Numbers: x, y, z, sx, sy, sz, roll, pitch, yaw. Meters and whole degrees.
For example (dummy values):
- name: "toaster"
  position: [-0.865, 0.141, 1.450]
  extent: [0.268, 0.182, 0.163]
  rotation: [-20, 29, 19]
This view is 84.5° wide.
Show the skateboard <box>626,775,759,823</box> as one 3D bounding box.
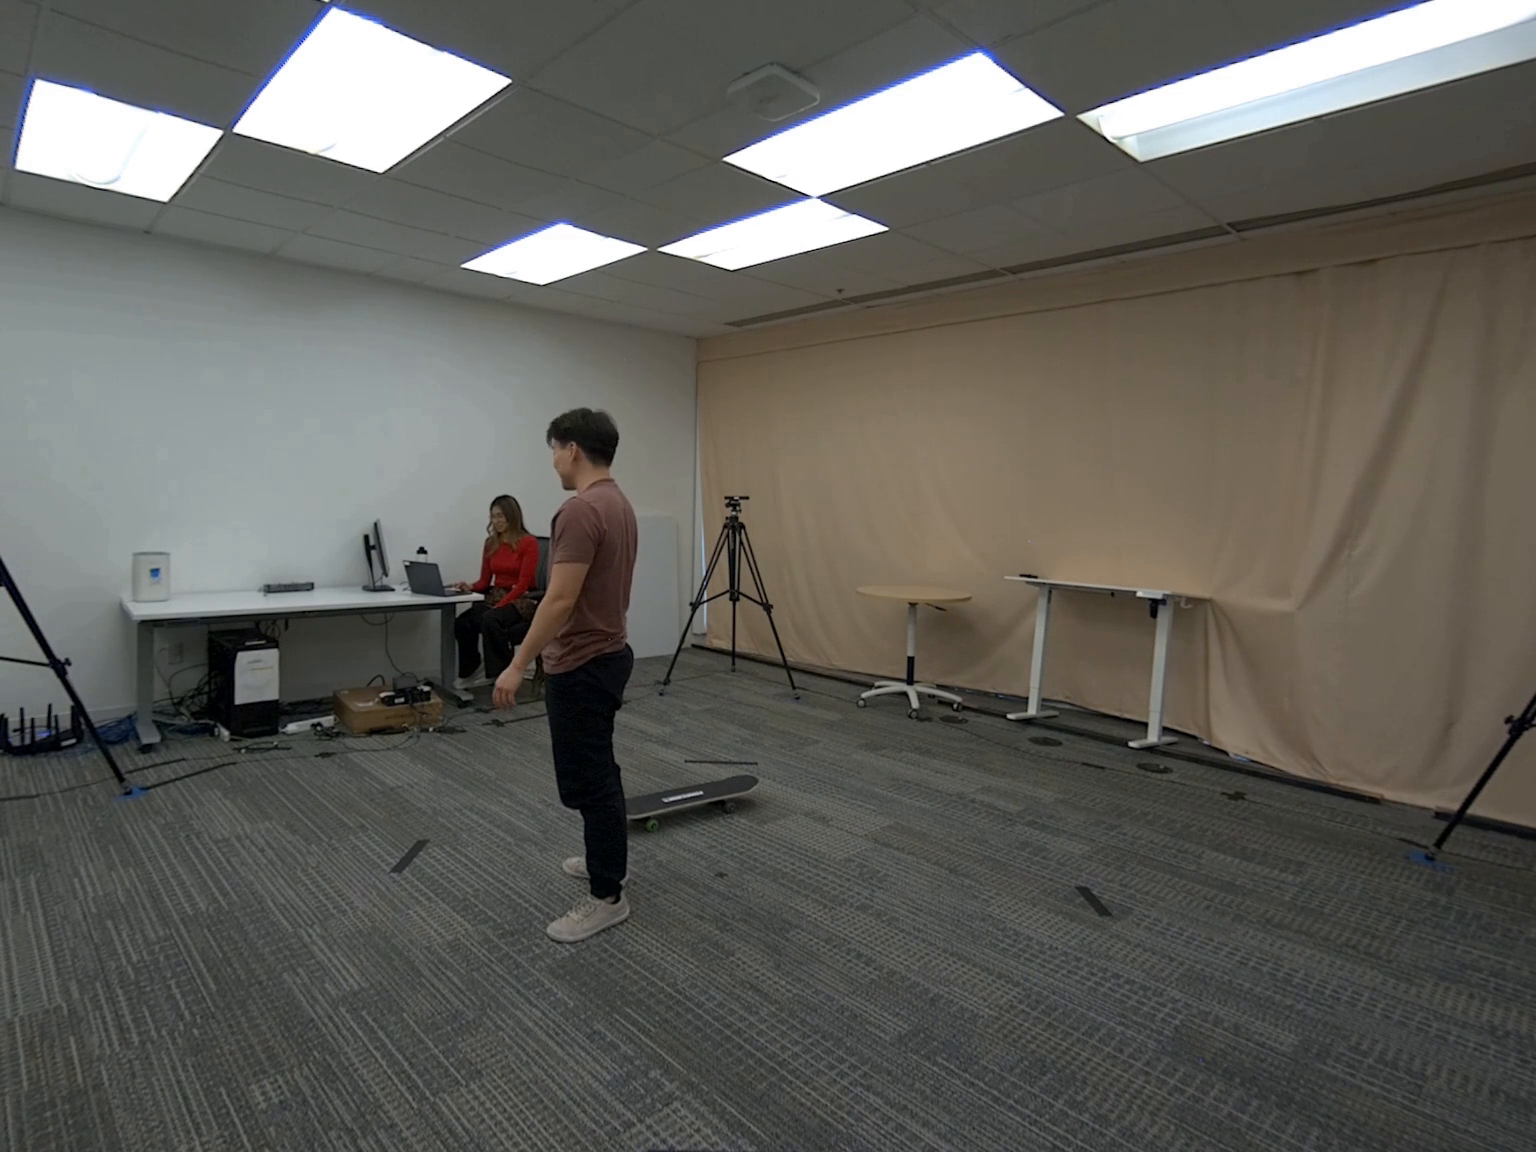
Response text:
- name: "skateboard"
  position: [-0.382, 0.992, 3.668]
  extent: [0.768, 0.110, 0.198]
  rotation: [-2, 6, -37]
